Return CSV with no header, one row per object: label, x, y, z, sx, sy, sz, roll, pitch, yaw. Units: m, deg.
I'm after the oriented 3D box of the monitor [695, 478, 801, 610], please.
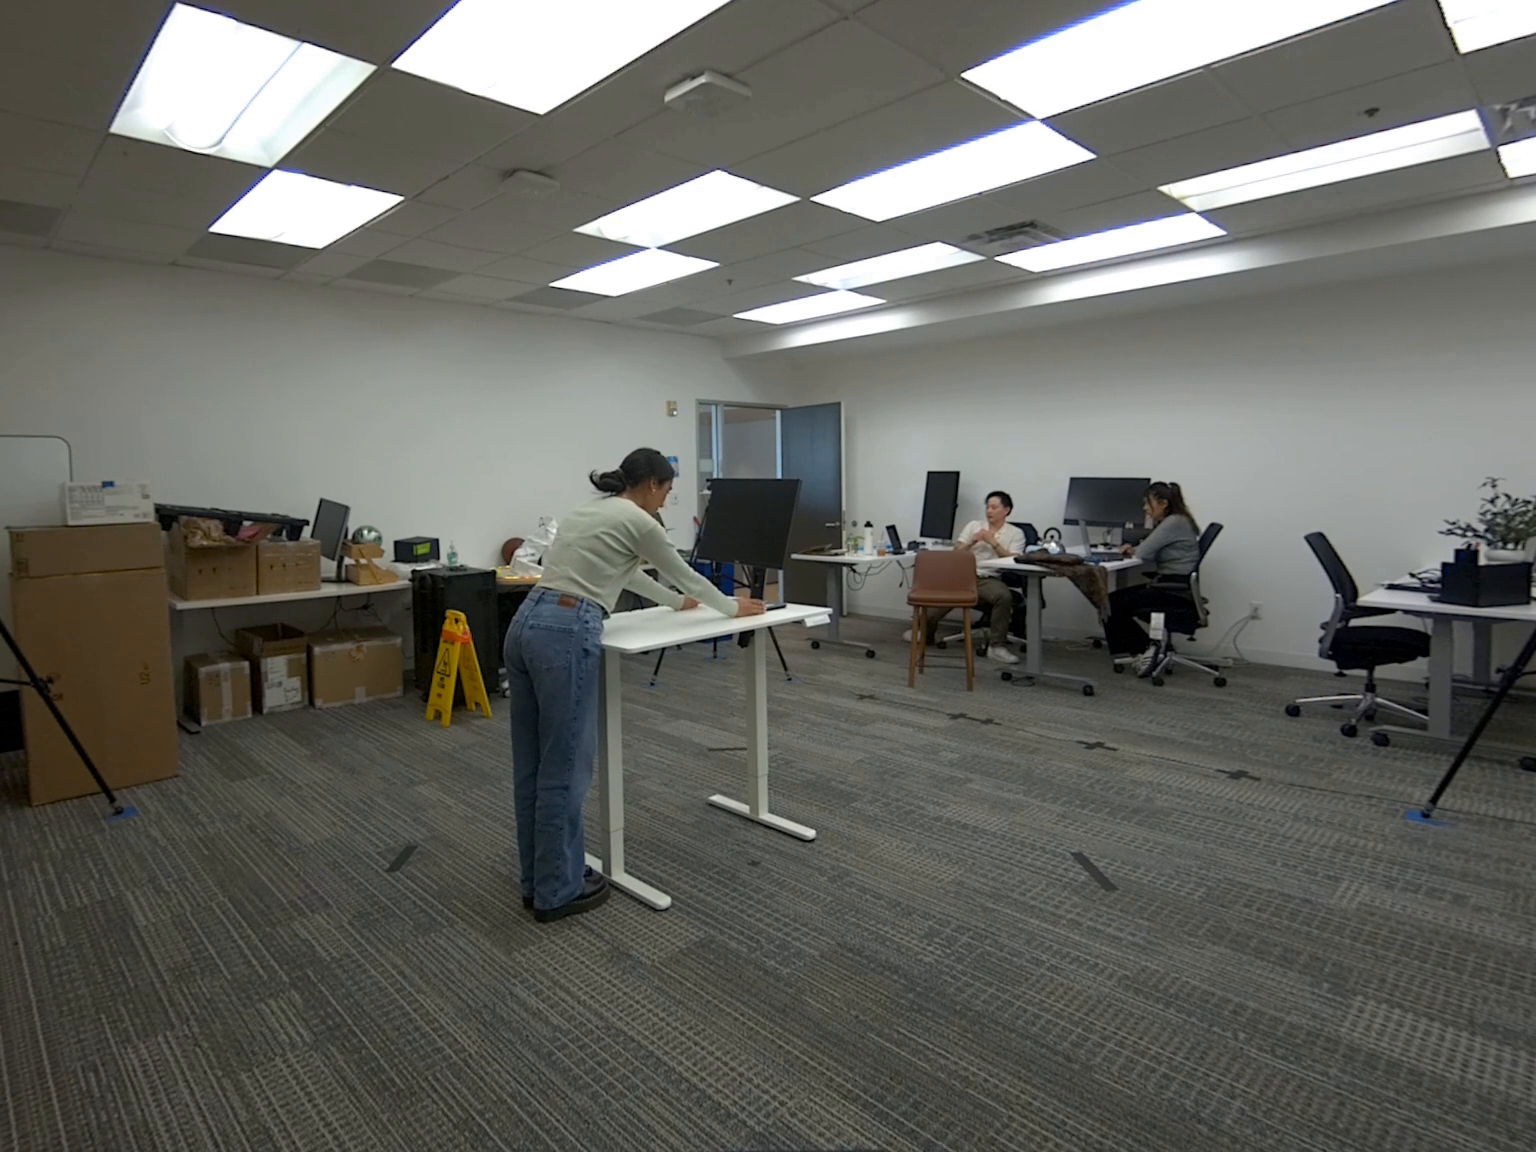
monitor,-0.063,-0.133,3.453,0.182,0.521,0.556,-1,5,-42
